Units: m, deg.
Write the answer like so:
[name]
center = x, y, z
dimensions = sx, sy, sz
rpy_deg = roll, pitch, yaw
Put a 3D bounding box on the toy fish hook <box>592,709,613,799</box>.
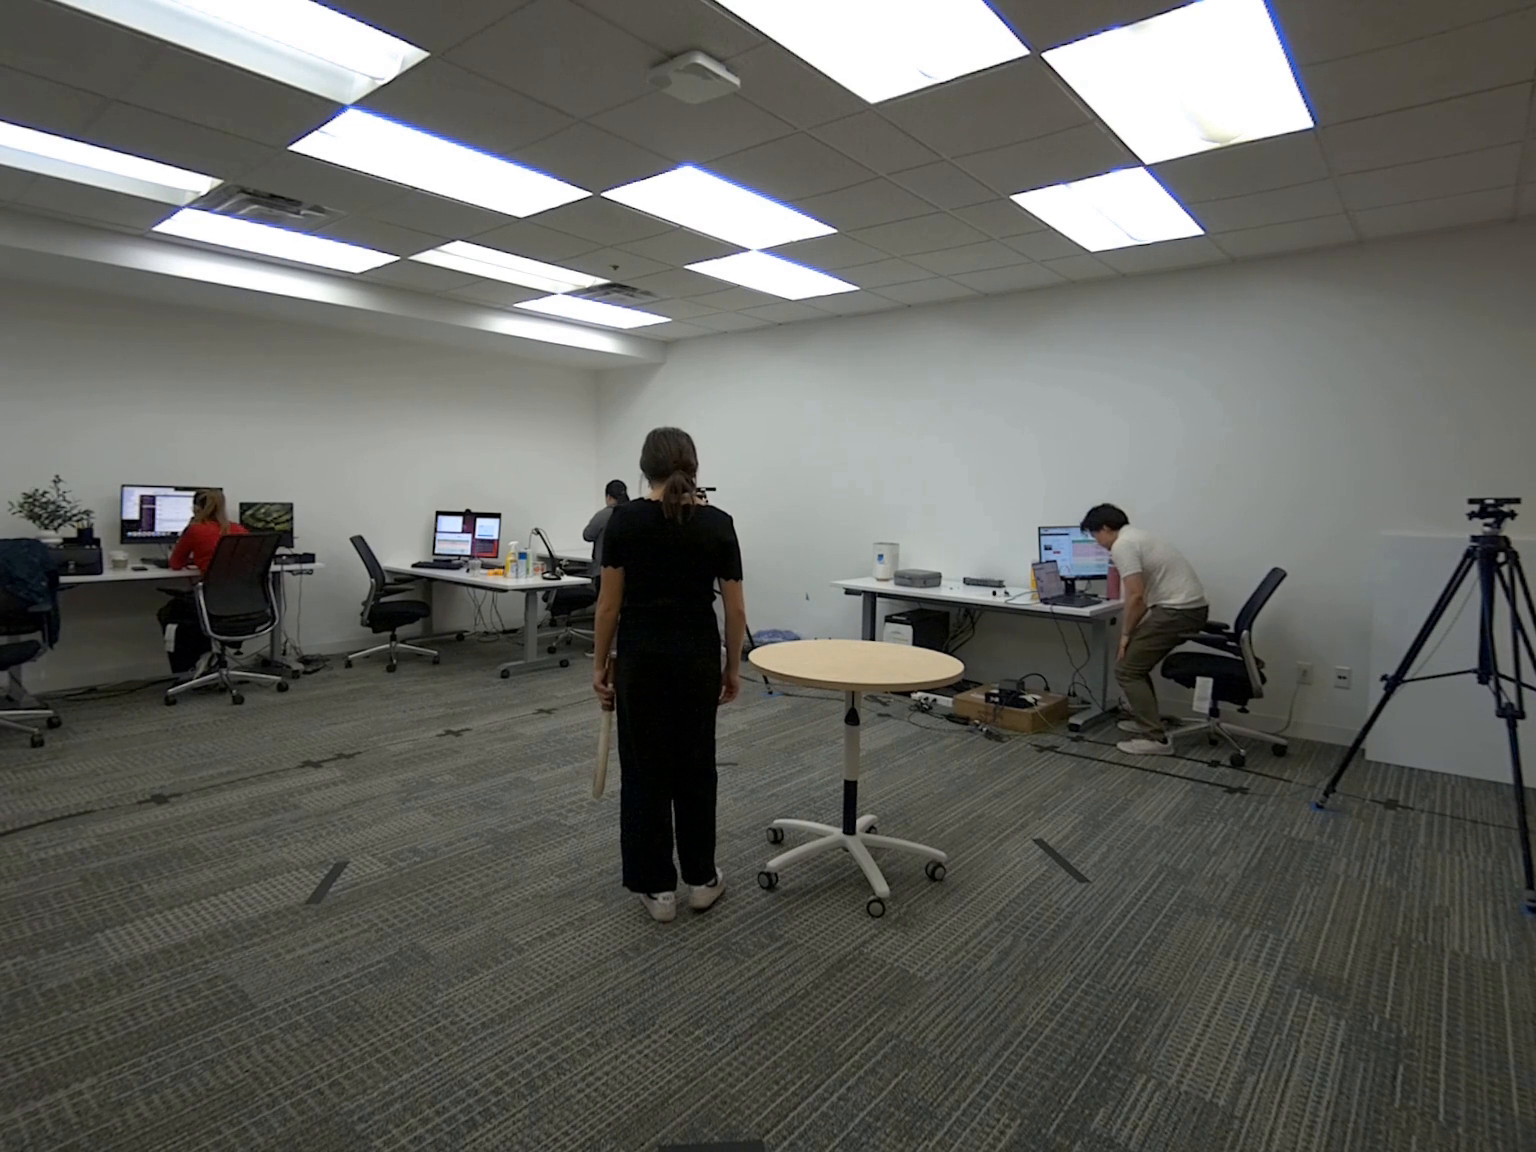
[toy fish hook]
center = -0.564, 0.480, 2.914
dimensions = 0.047, 0.505, 0.229
rpy_deg = 9, 4, -16
